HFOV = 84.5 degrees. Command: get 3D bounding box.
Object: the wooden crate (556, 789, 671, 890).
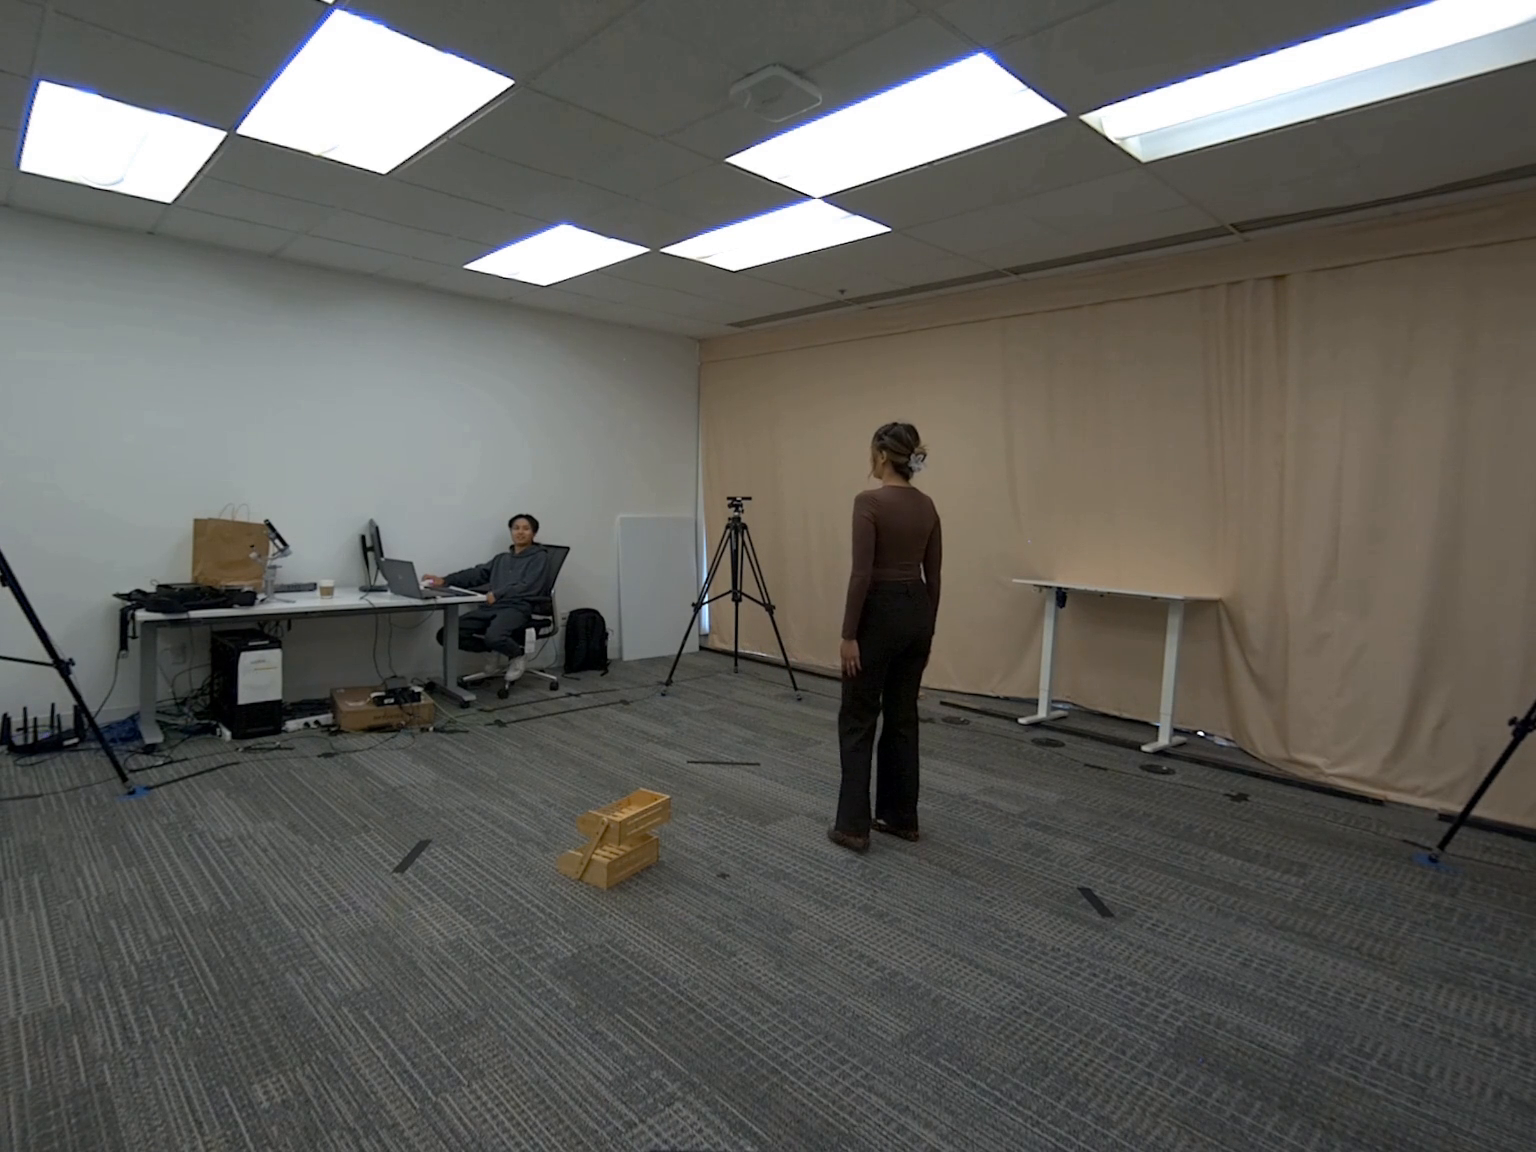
[{"bbox_3d":[-0.589,0.960,3.145,0.309,0.272,0.318,4,5,32],"label":"wooden crate"}]
